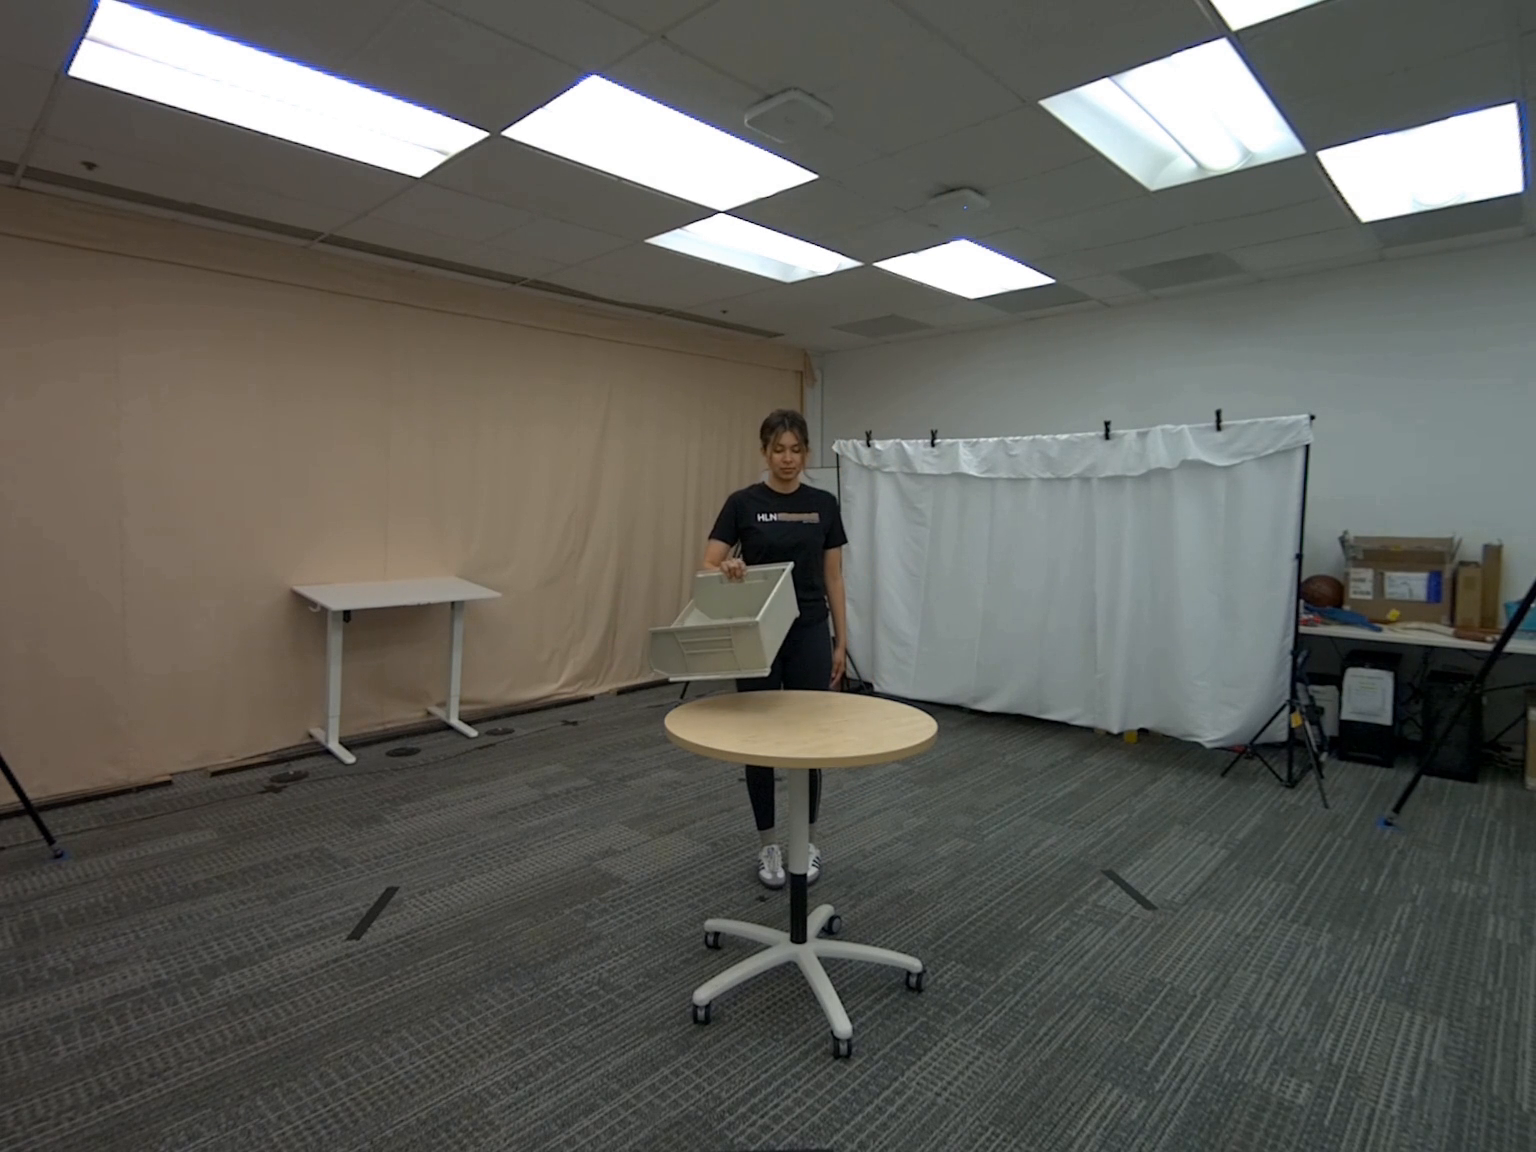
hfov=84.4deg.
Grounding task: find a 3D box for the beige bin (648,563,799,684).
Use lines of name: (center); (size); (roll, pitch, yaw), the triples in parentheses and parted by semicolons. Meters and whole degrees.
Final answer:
beige bin: (-0.130, 0.138, 2.610); (0.384, 0.186, 0.421); (-6, 21, 19)
